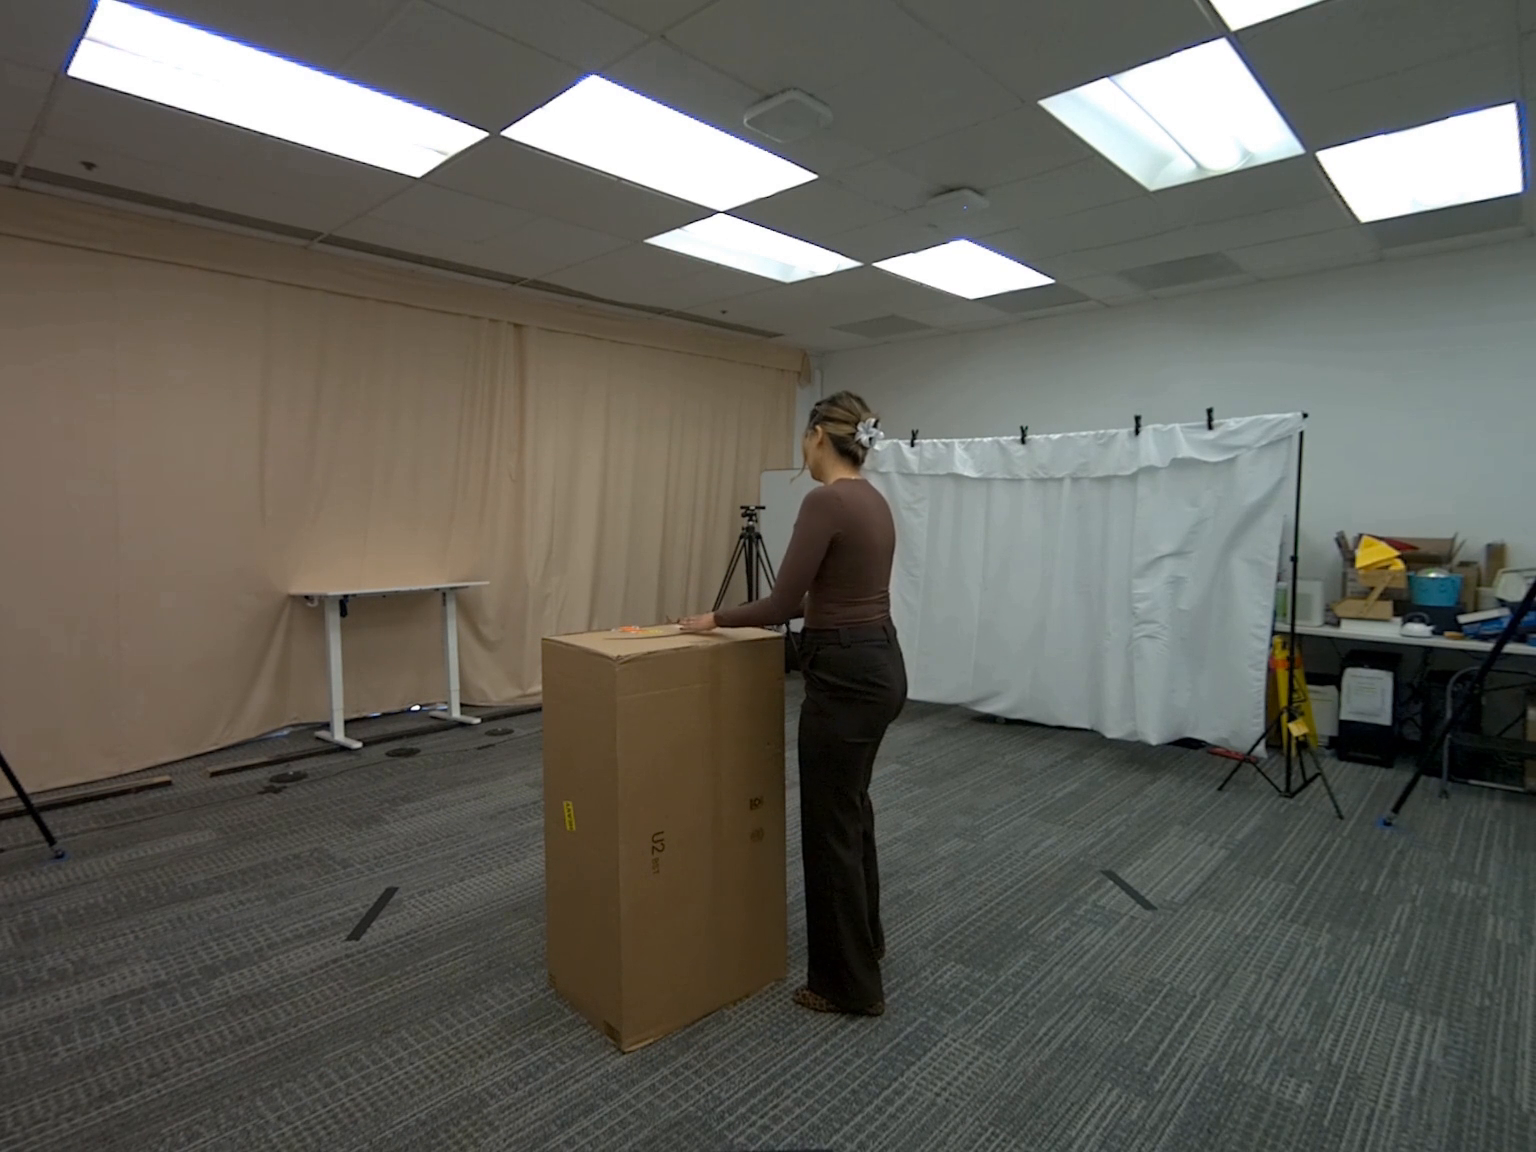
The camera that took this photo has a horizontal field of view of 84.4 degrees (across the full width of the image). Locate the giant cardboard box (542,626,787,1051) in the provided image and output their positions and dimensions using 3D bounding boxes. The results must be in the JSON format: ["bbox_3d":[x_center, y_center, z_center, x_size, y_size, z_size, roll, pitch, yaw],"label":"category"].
[{"bbox_3d":[-0.298,0.681,2.454,0.566,1.025,0.461,-2,3,-39],"label":"giant cardboard box"}]
